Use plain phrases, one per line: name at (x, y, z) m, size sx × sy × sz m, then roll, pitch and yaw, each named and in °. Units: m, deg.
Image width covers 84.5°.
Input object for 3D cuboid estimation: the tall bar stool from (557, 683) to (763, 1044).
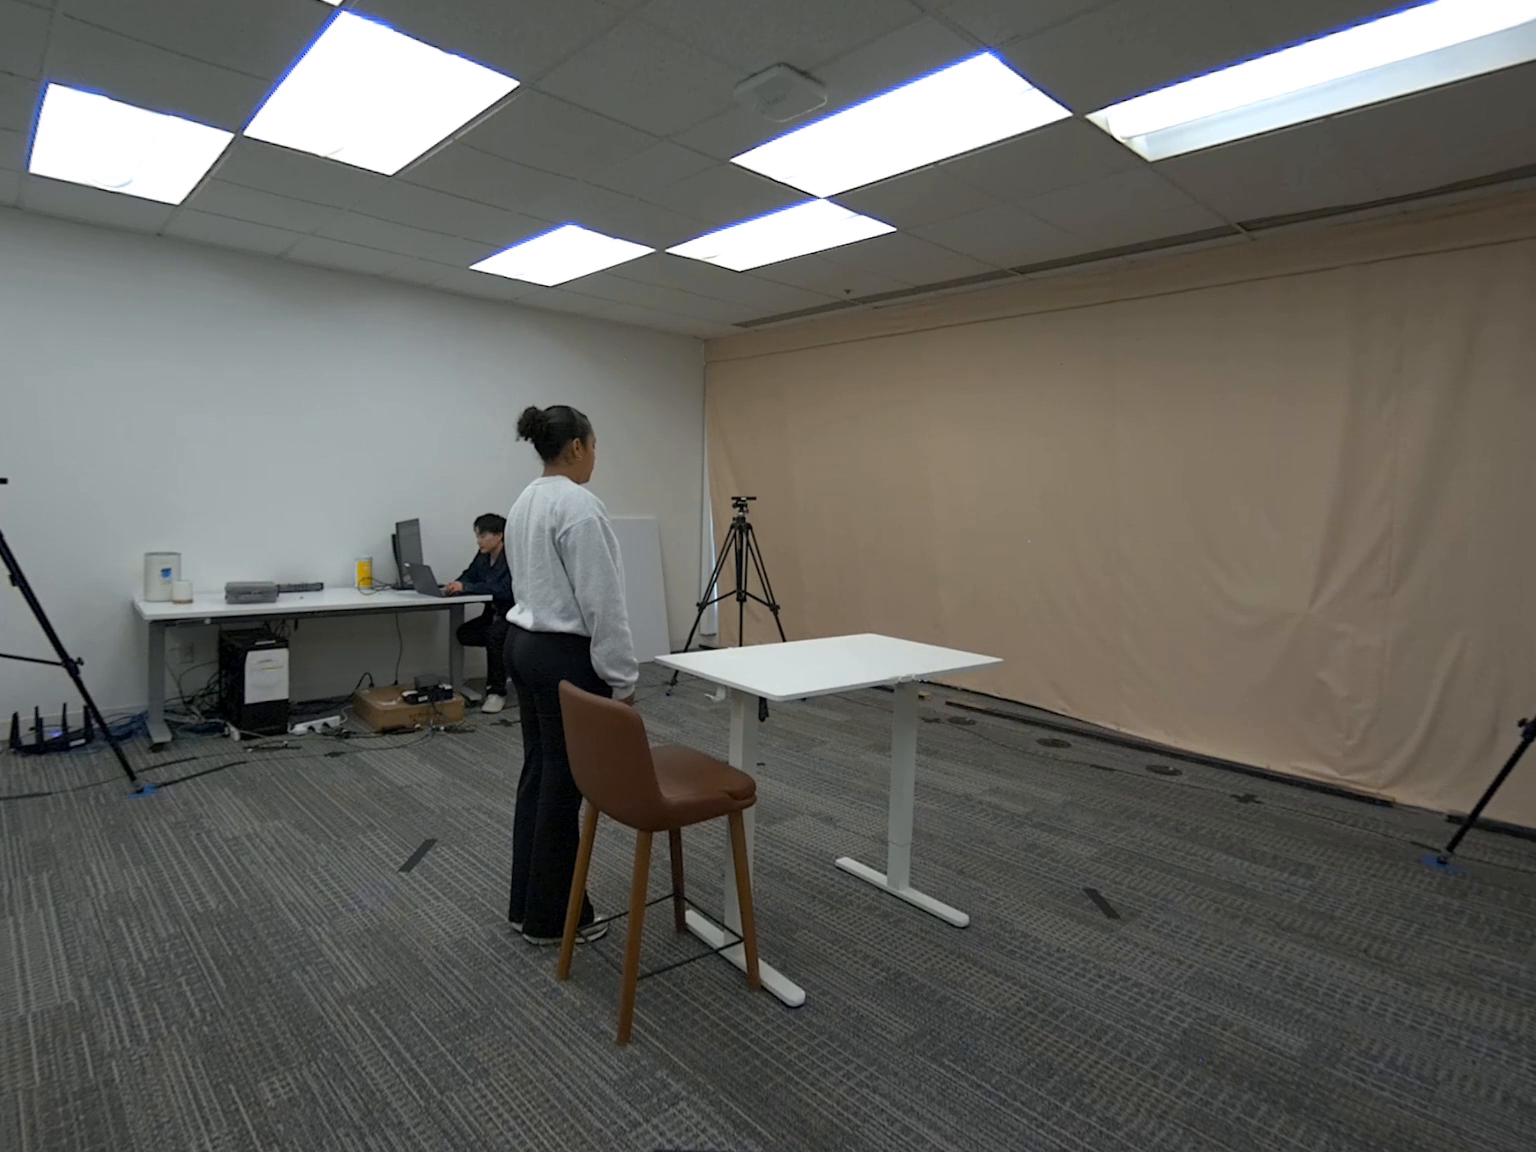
tall bar stool at (-0.321, 0.733, 2.383) m, size 0.458 × 0.887 × 0.468 m, roll -5°, pitch 6°, yaw -38°
